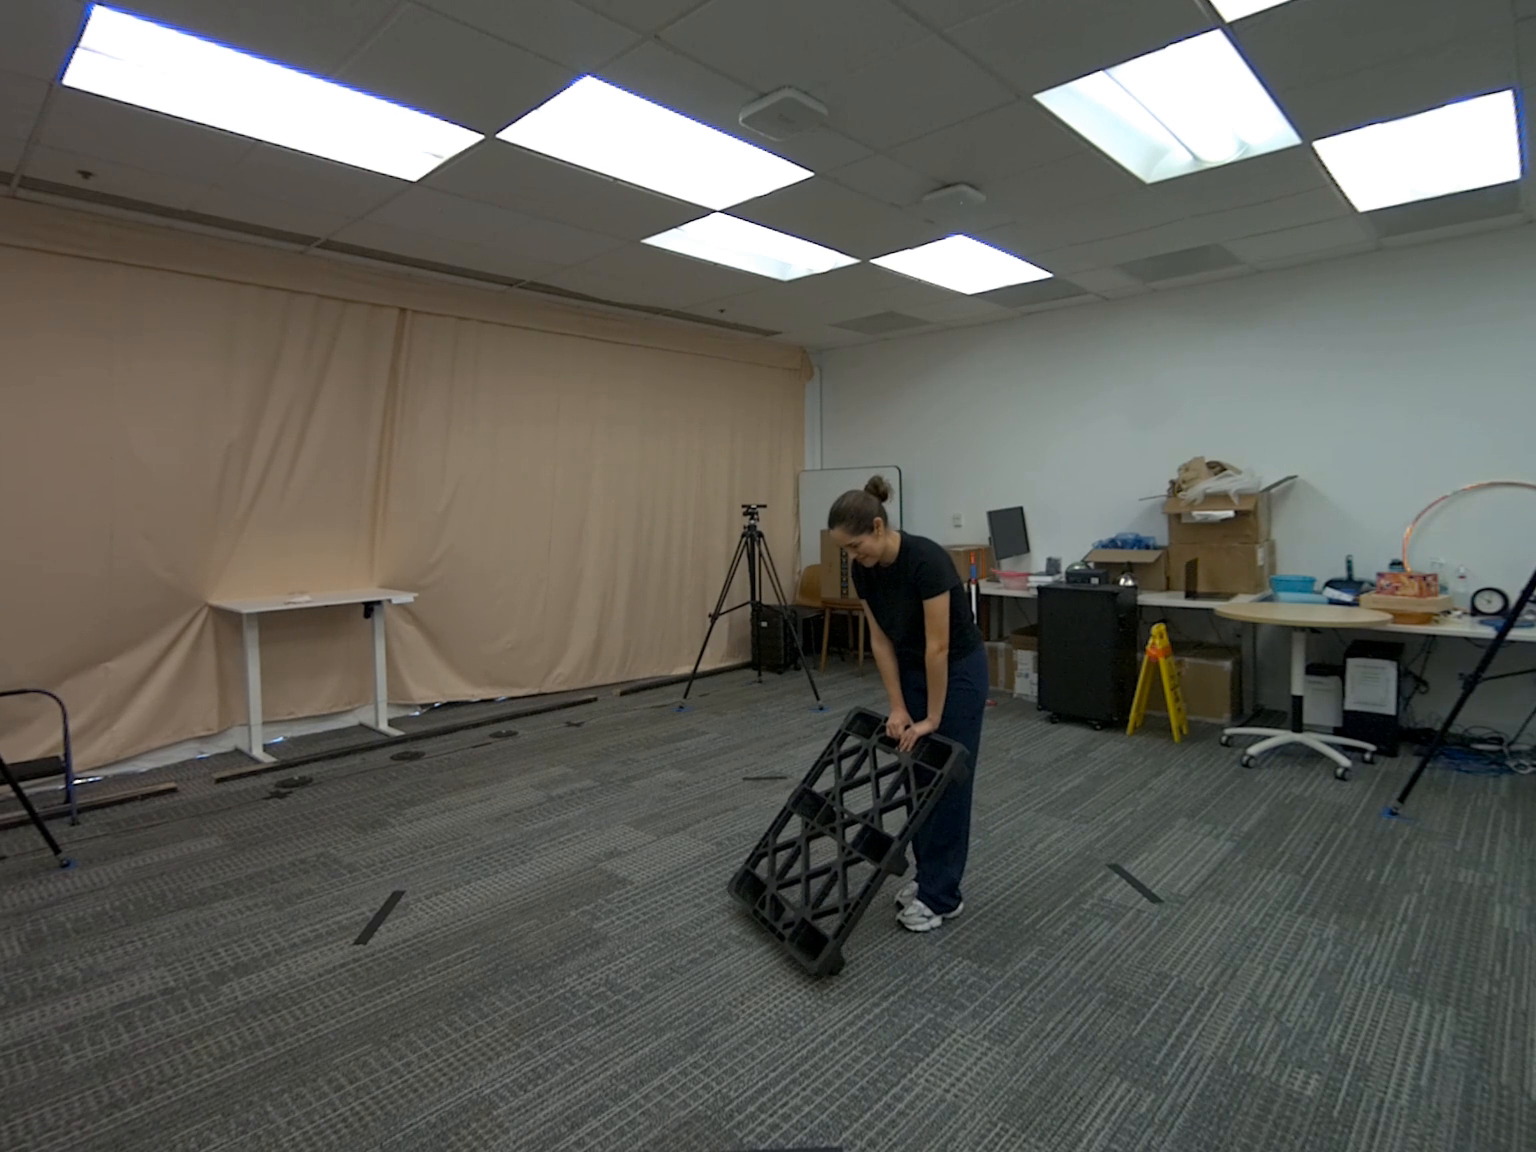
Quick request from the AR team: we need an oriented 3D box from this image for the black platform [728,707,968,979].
[{"bbox_3d":[0.279,0.844,2.766,0.140,0.803,0.621,43,-15,-23],"label":"black platform"}]
